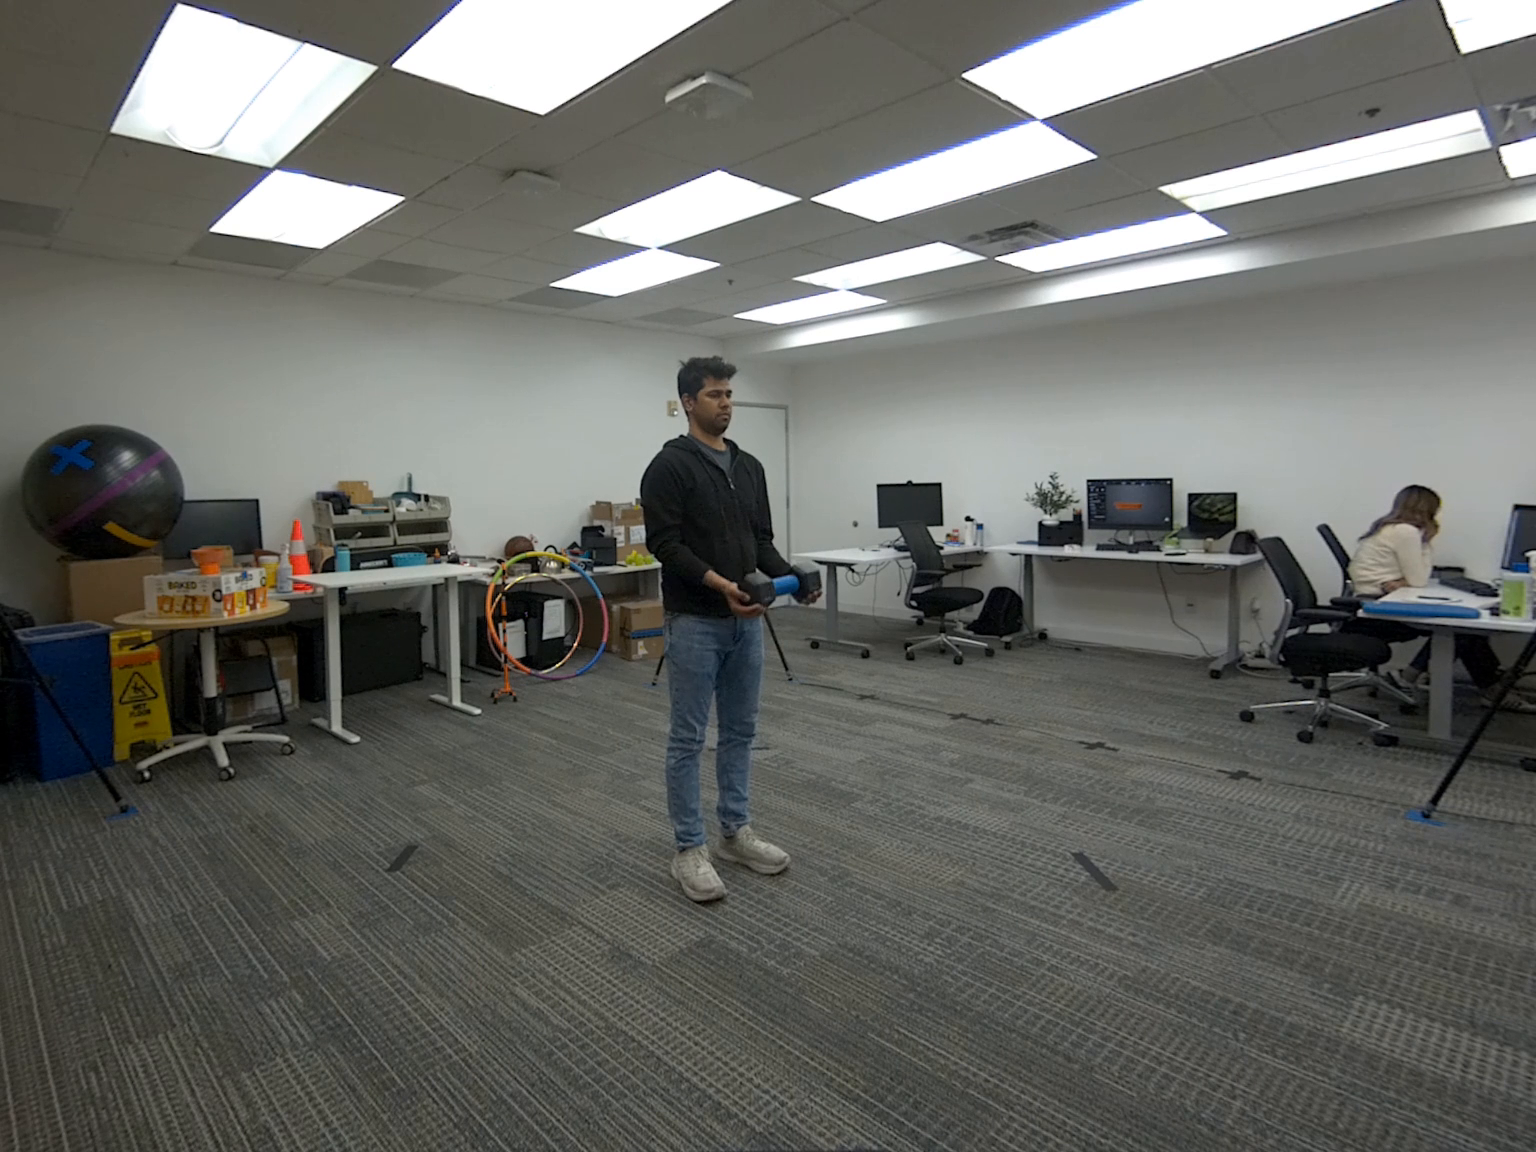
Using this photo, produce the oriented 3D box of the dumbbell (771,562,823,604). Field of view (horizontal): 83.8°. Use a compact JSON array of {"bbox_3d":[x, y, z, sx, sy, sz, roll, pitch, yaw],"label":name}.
[{"bbox_3d":[0.025,0.028,2.785,0.287,0.123,0.111,-11,-1,-40],"label":"dumbbell"}]
